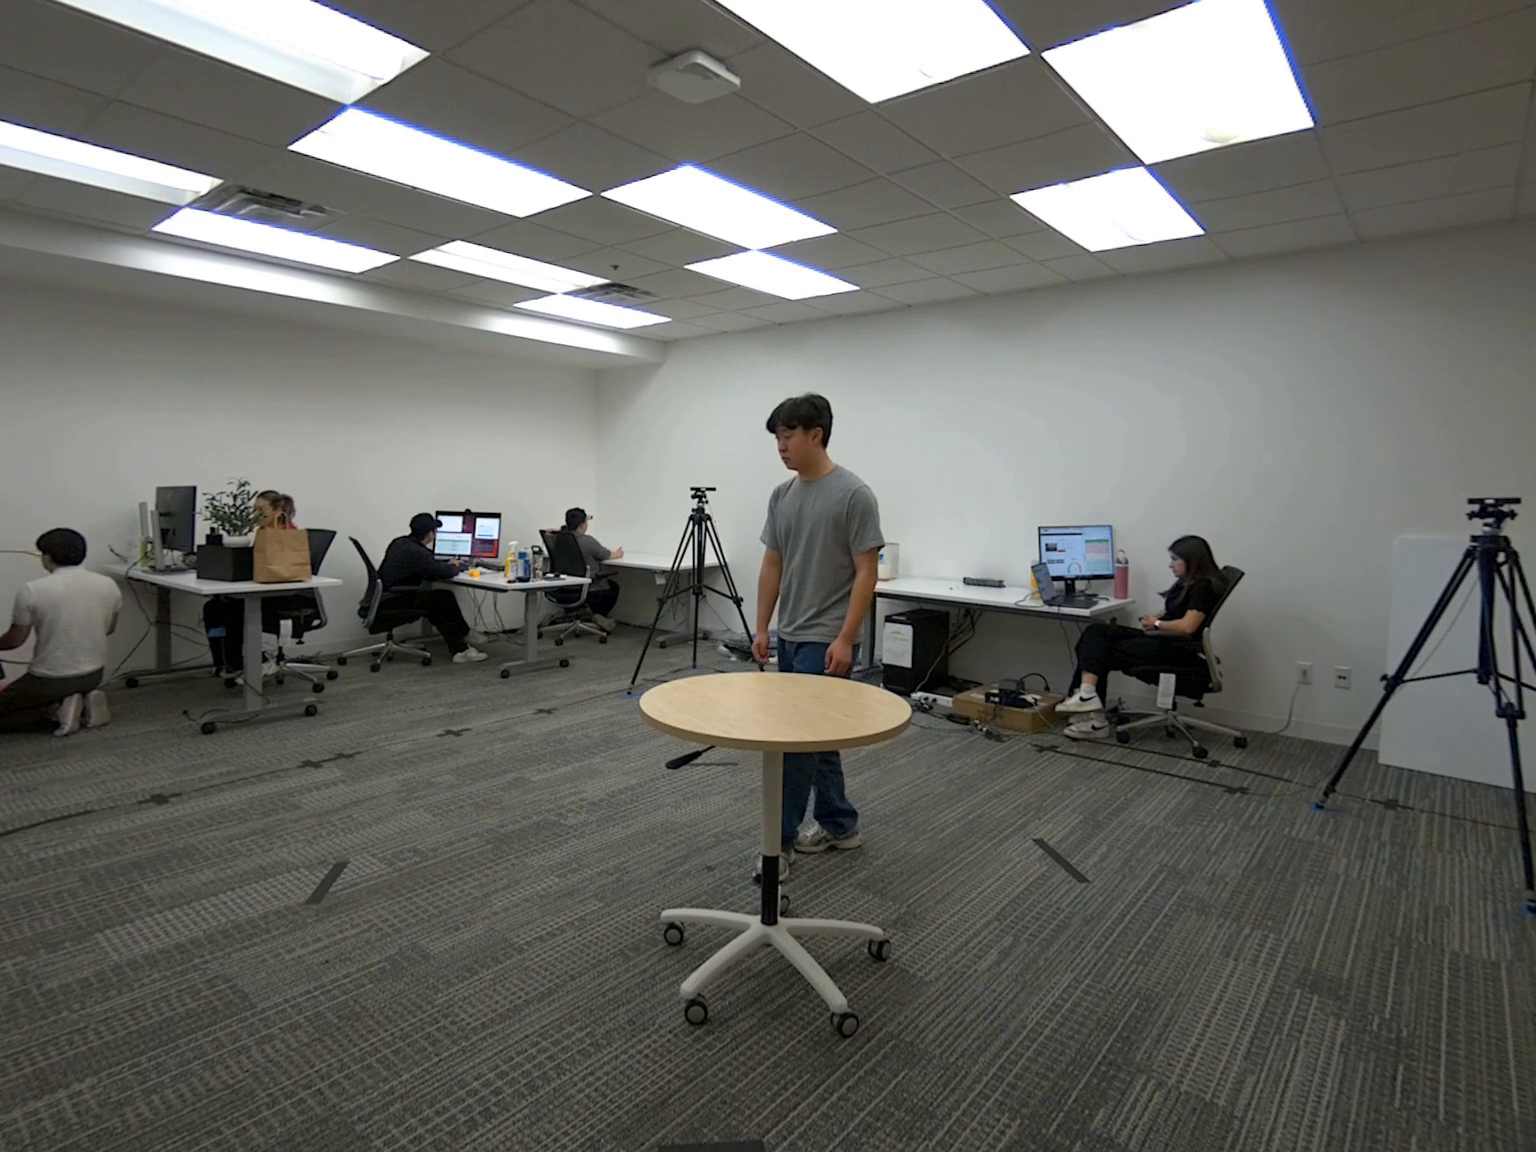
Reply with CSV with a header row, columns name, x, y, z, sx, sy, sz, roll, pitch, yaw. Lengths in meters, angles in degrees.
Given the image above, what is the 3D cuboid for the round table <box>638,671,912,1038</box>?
name,x,y,z,sx,sy,sz,roll,pitch,yaw
round table,-0.003,0.748,2.446,0.763,0.791,0.768,1,4,-2
